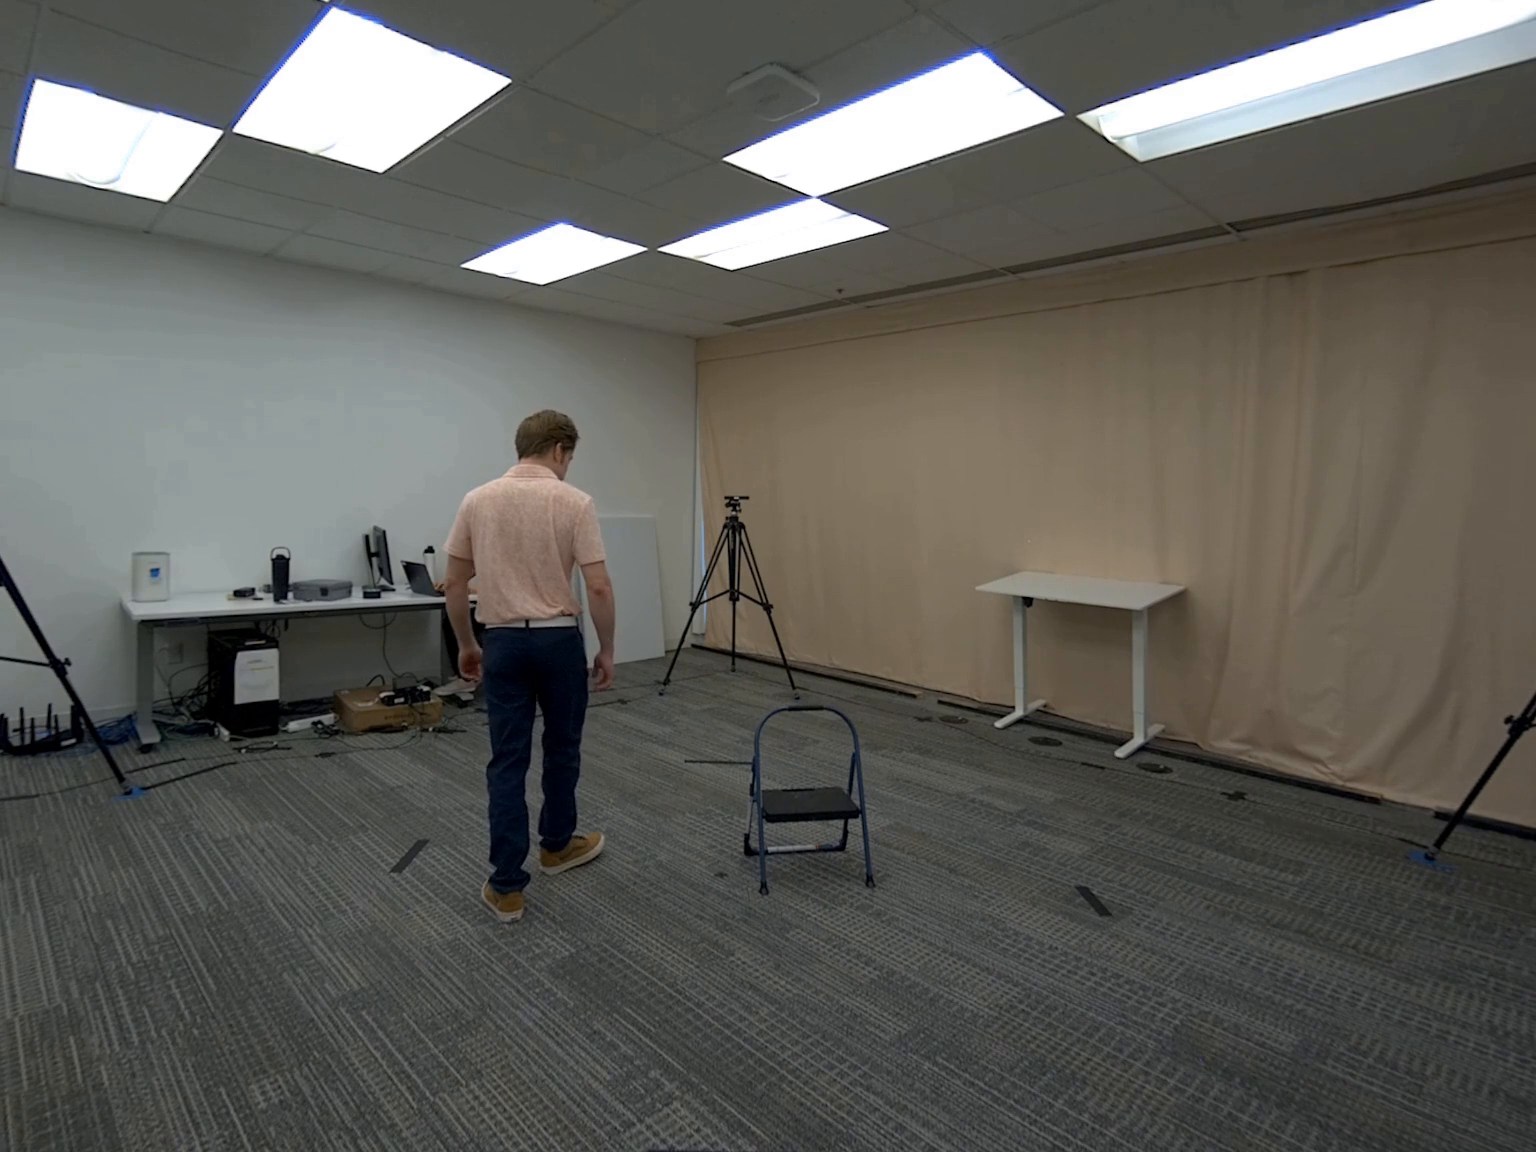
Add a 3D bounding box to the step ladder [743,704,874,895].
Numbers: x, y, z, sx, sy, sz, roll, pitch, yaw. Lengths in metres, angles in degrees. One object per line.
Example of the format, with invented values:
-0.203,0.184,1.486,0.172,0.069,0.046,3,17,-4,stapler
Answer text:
0.146,0.805,3.148,0.426,0.604,0.354,1,4,-13,step ladder
